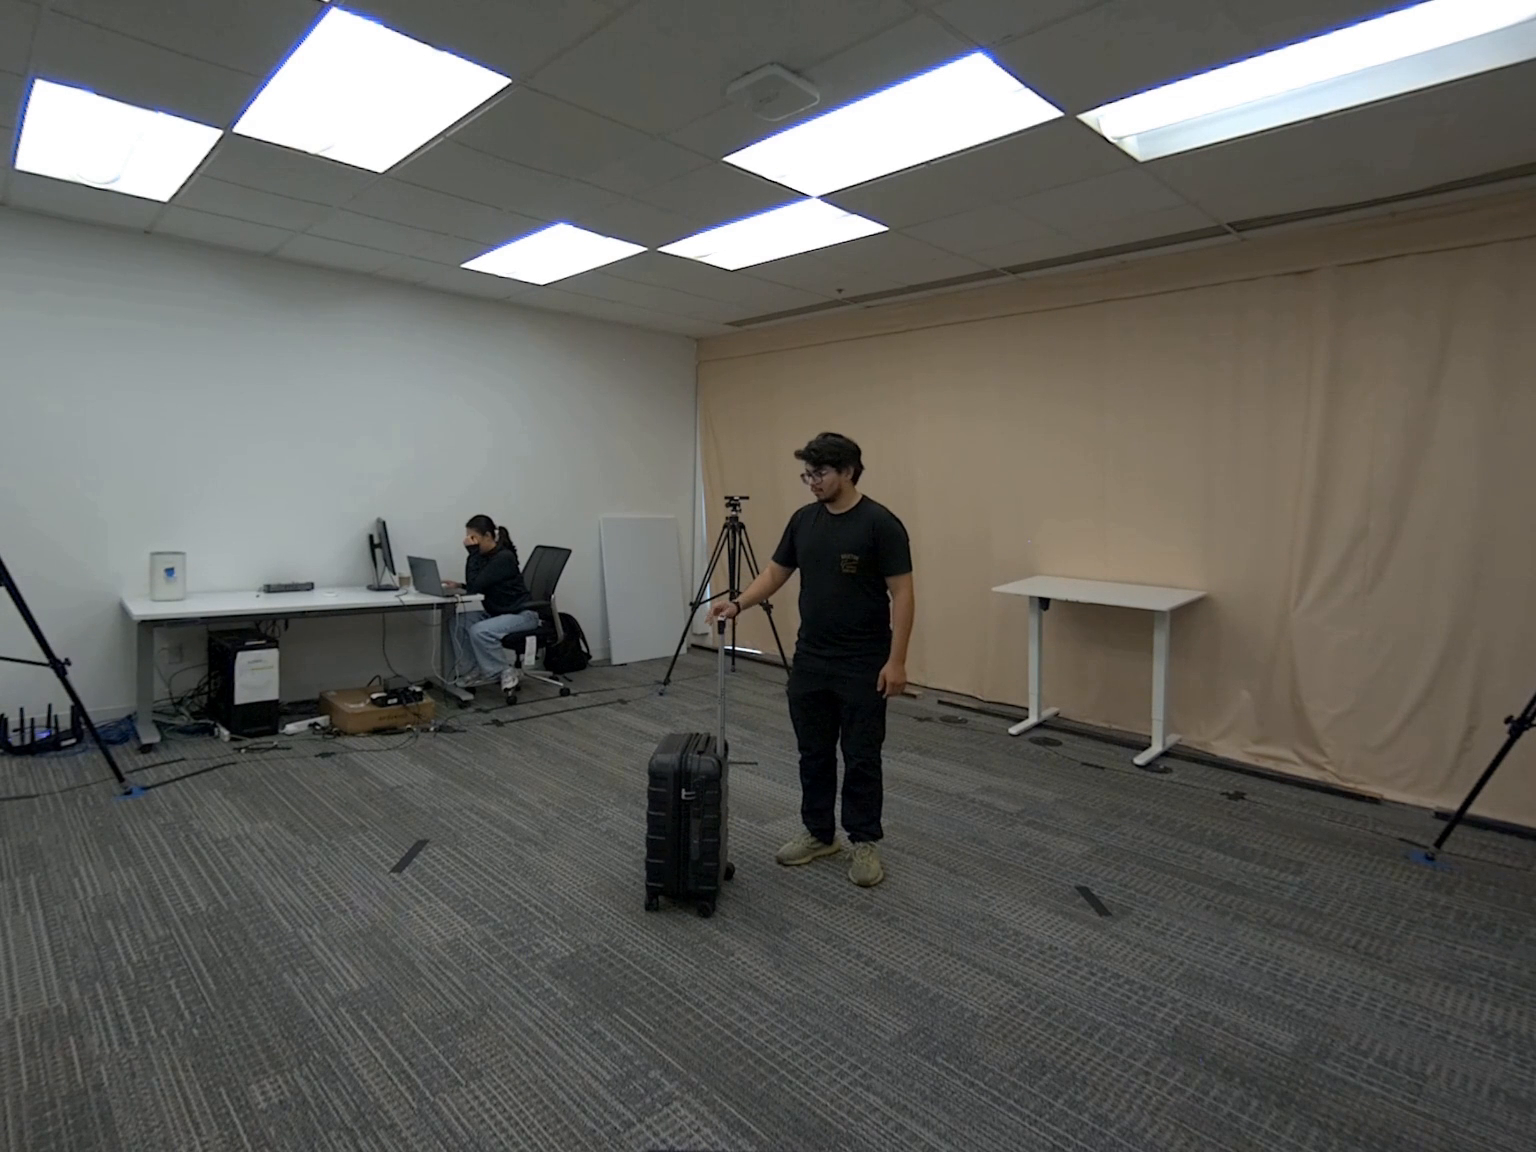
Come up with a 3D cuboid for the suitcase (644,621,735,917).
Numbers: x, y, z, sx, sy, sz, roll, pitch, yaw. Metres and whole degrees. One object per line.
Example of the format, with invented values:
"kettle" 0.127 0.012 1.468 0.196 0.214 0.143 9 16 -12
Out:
"suitcase" -0.279 0.641 2.917 0.258 0.976 0.384 -1 3 3
